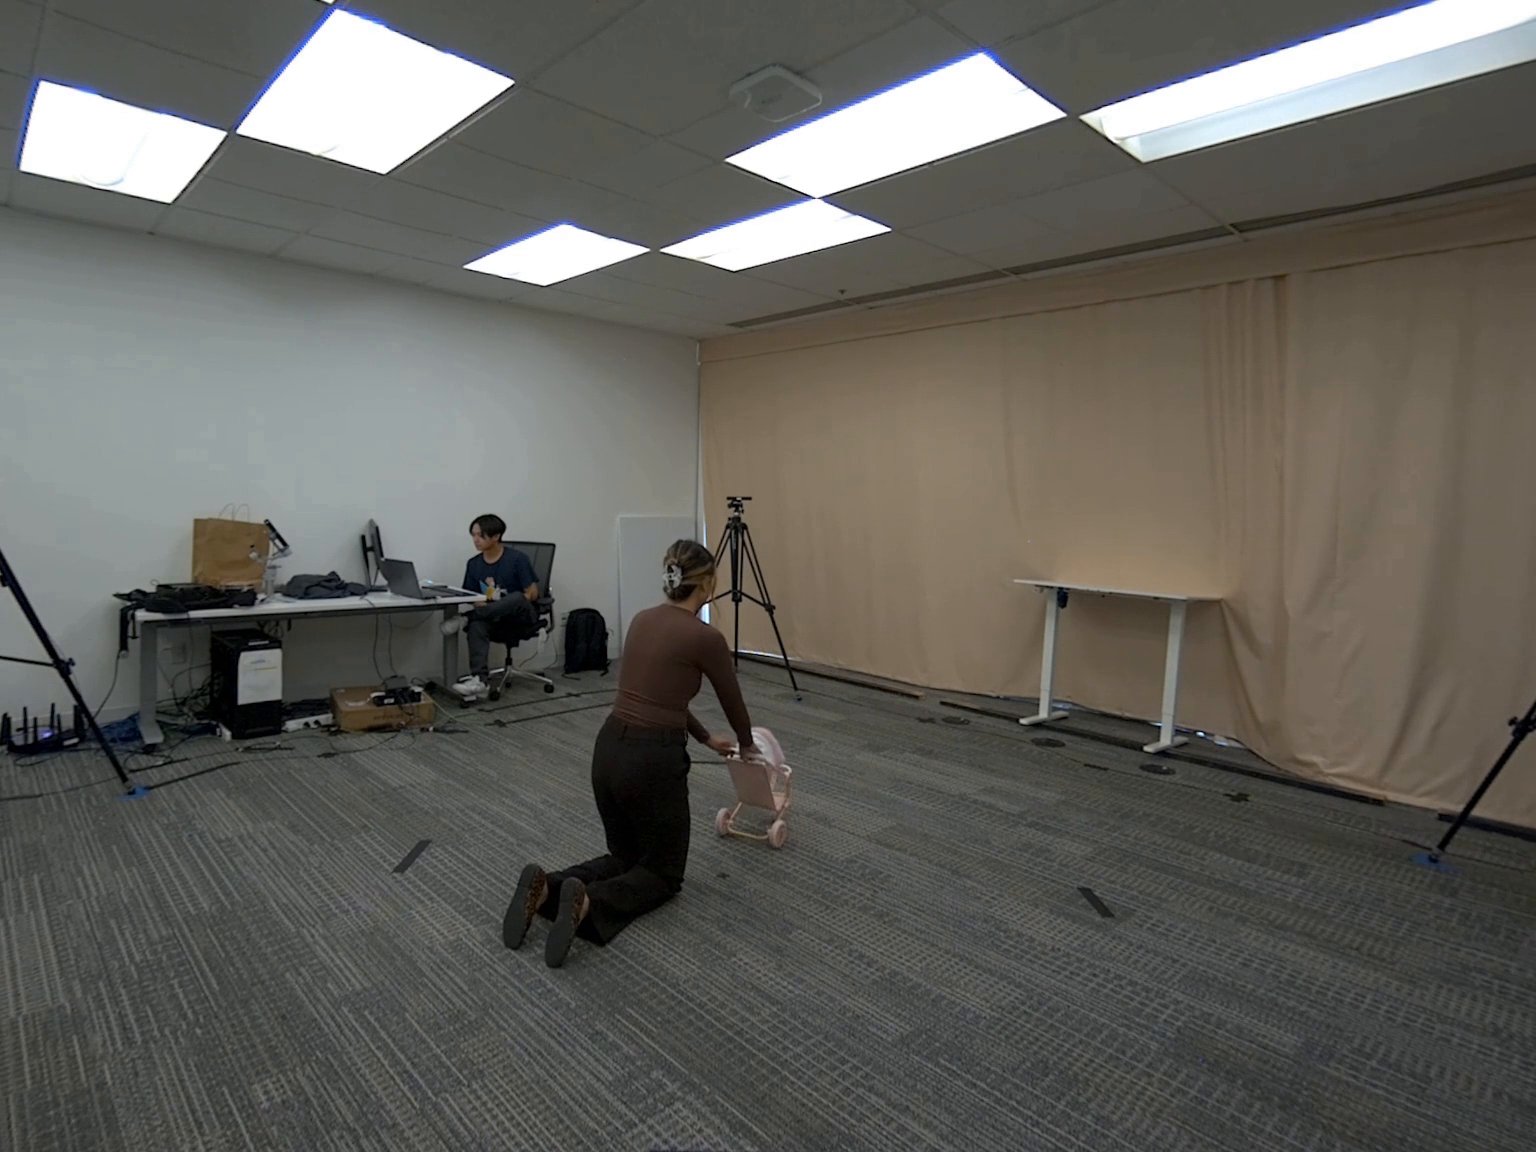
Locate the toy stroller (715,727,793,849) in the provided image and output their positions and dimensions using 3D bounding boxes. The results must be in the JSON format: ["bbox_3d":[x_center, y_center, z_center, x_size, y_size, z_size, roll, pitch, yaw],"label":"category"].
[{"bbox_3d":[-0.045,0.853,3.469,0.288,0.527,0.338,5,21,30],"label":"toy stroller"}]
